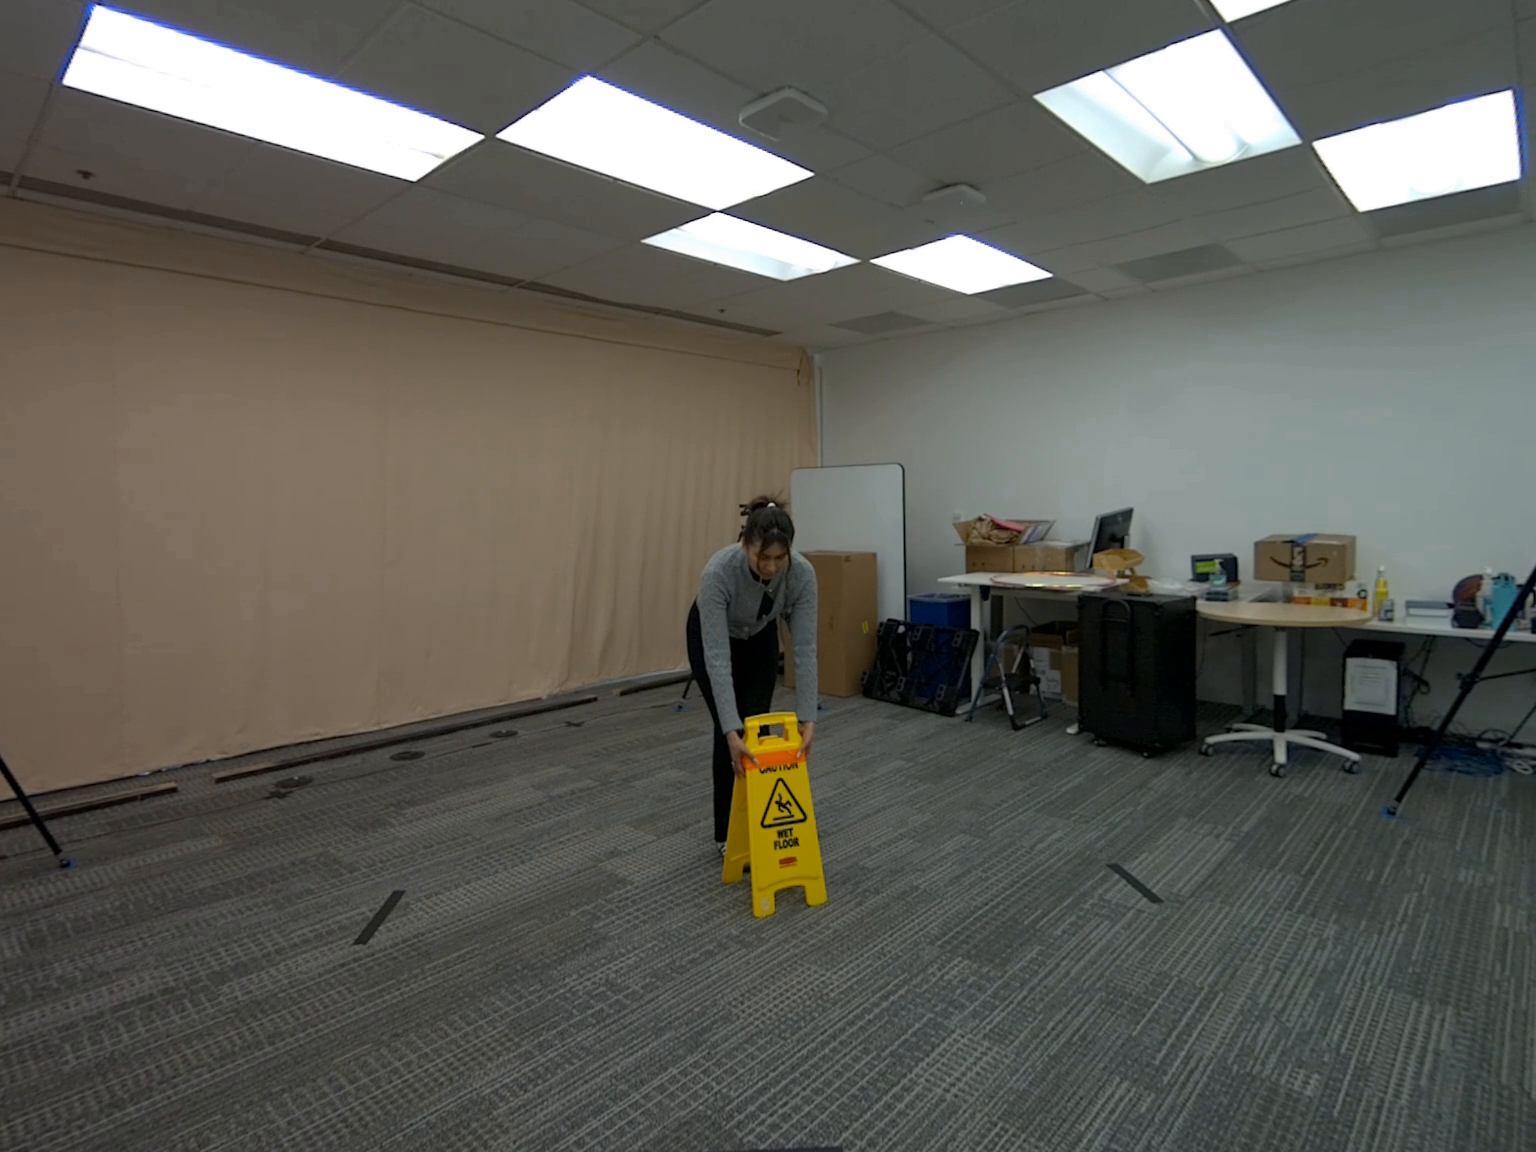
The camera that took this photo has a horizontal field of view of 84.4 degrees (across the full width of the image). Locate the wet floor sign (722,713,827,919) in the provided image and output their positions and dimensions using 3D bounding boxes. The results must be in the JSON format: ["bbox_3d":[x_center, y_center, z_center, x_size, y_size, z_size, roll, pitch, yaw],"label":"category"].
[{"bbox_3d":[0.020,0.811,3.000,0.276,0.644,0.297,-4,5,-24],"label":"wet floor sign"}]
